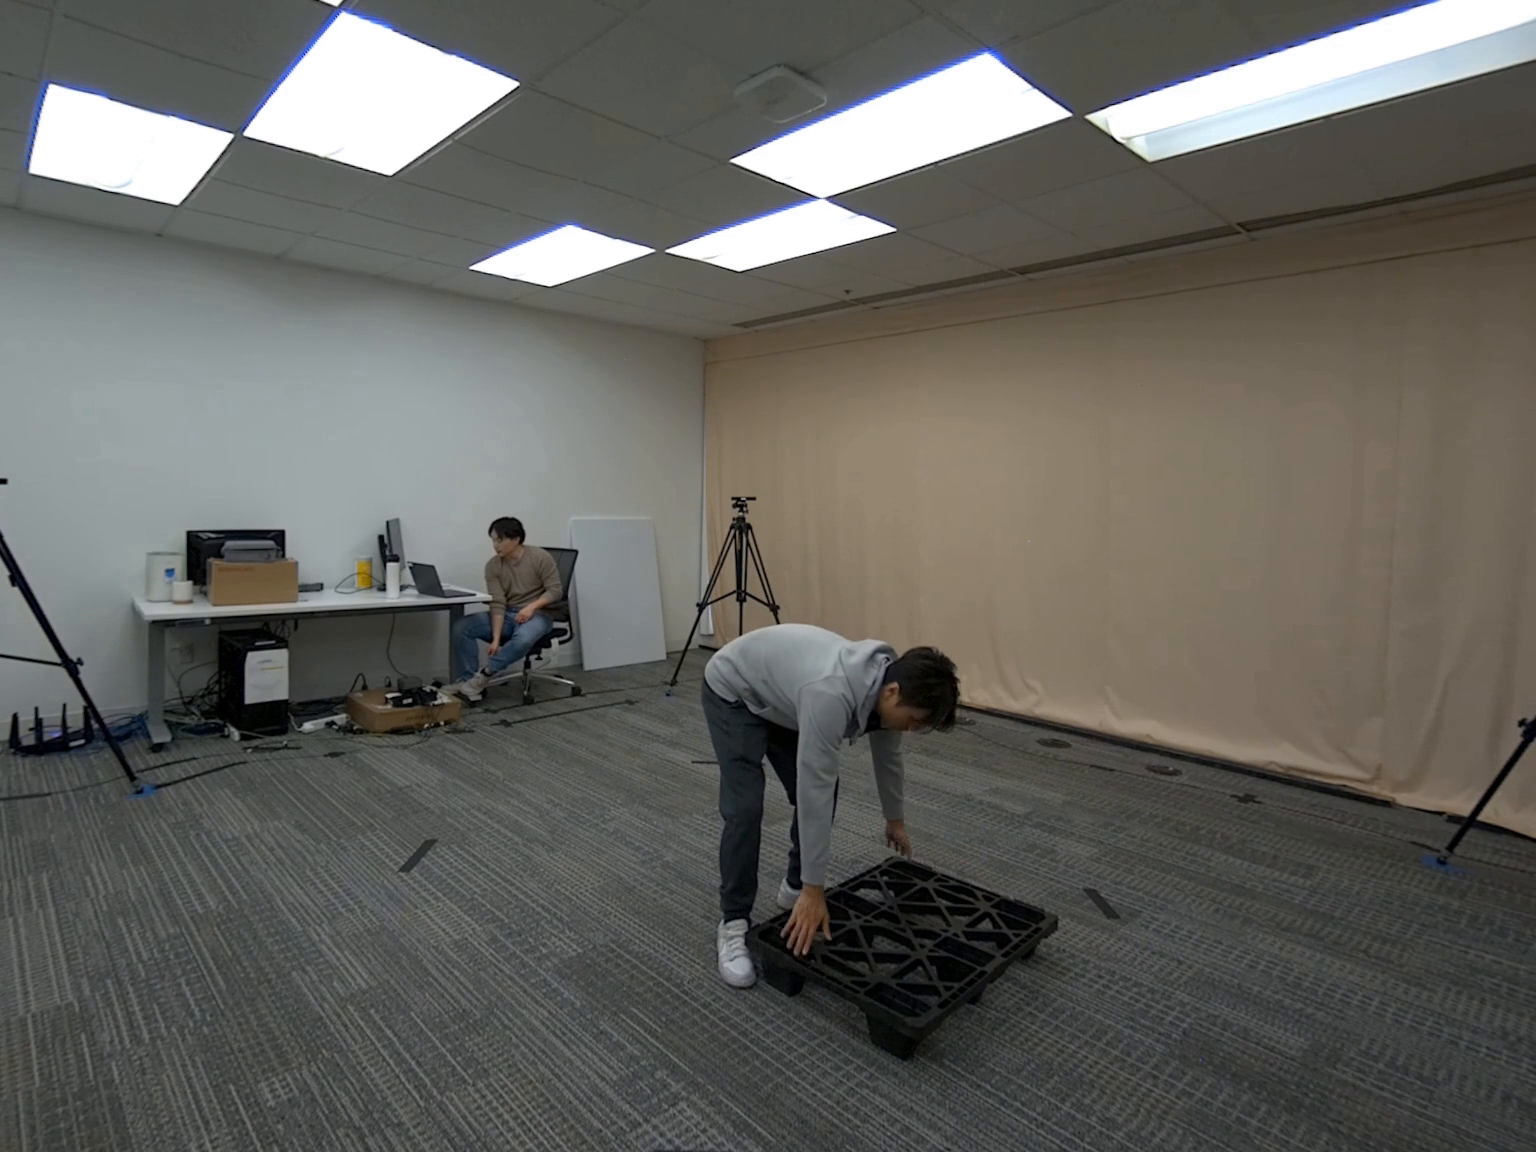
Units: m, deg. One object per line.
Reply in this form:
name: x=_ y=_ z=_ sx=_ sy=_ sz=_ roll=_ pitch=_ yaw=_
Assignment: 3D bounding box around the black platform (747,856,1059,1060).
black platform: x=0.401 y=1.108 z=2.519 sx=0.621 sy=0.143 sz=0.787 roll=6 pitch=7 yaw=42
